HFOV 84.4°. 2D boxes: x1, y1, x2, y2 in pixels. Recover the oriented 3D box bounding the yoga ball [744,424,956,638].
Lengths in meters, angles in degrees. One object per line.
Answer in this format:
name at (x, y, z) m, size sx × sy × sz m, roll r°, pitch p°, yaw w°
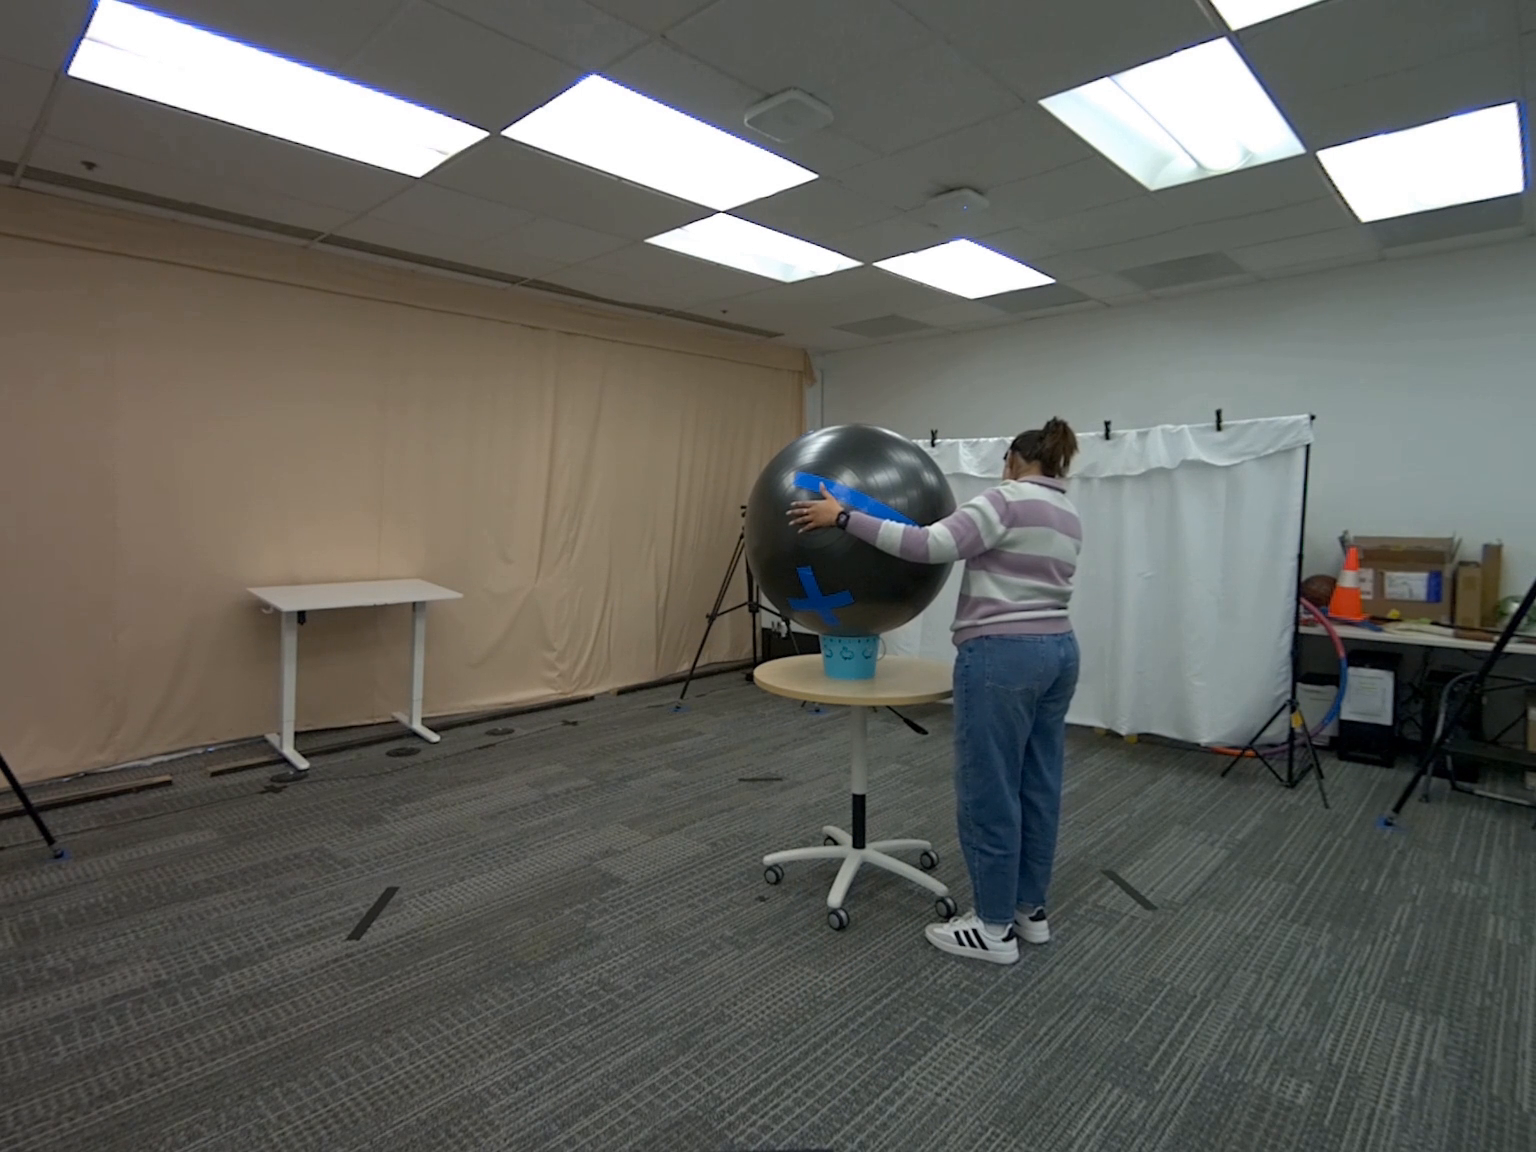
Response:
yoga ball at (0.296, -0.157, 3.016) m, size 0.757 × 0.756 × 0.760 m, roll 0°, pitch 4°, yaw -2°
